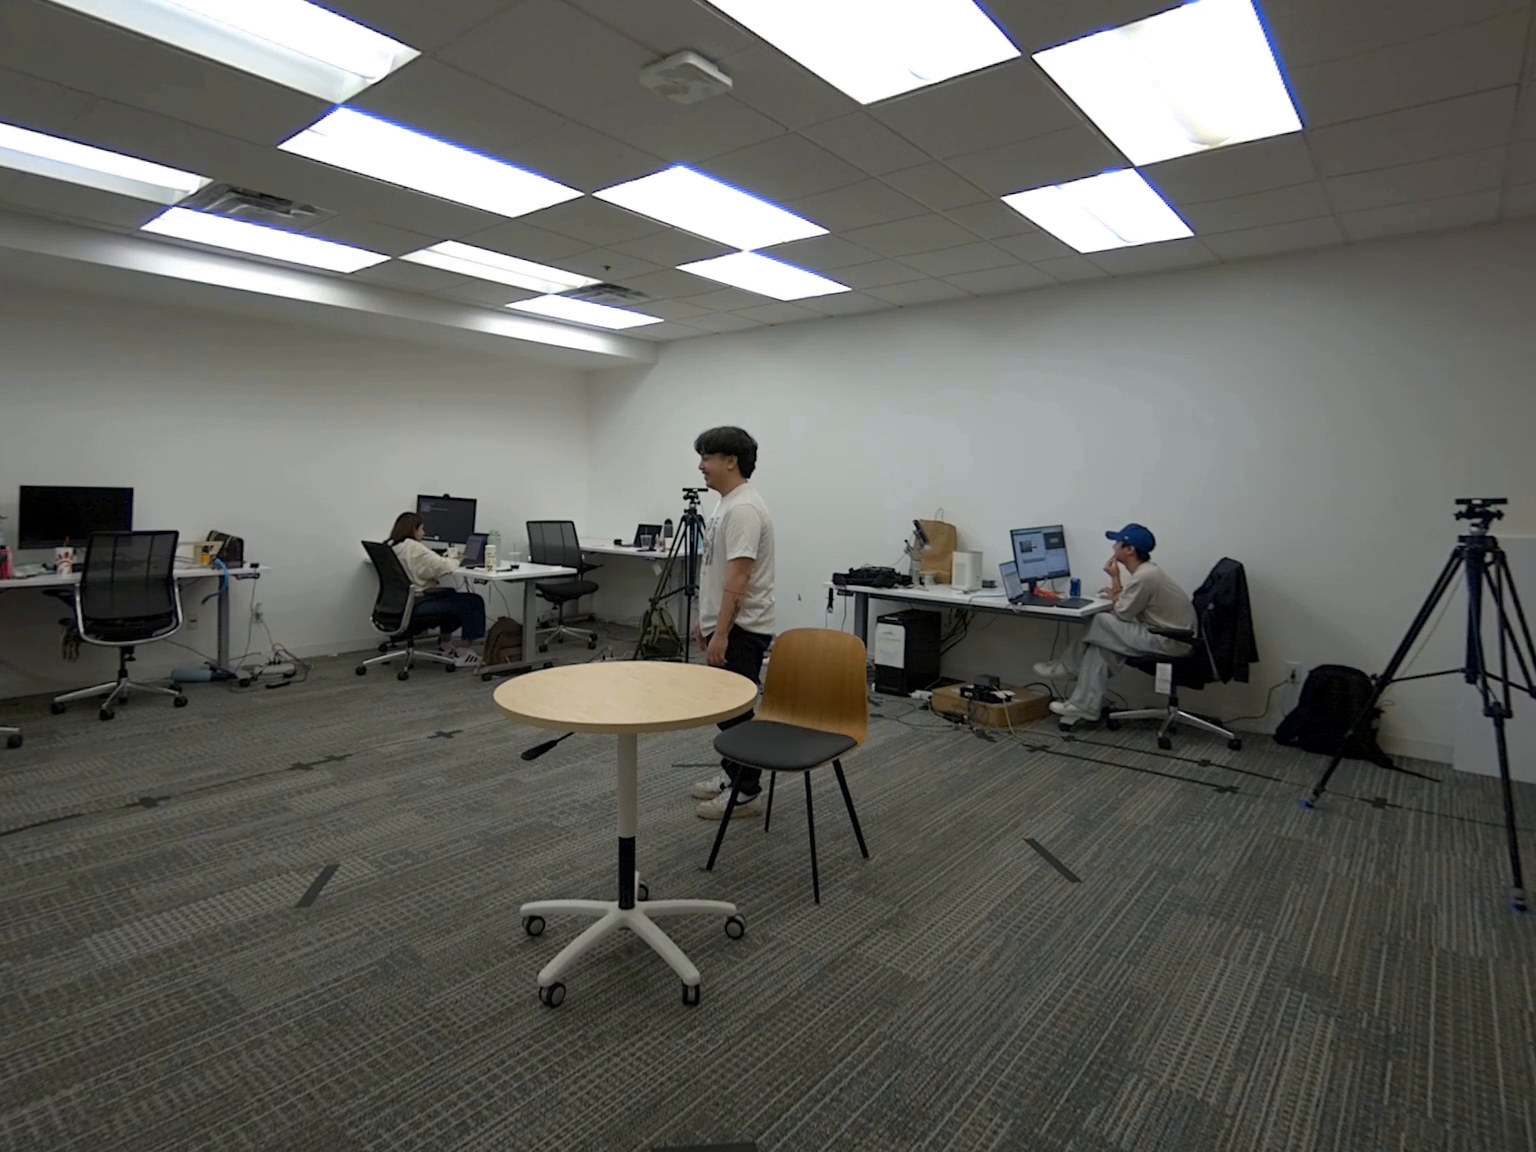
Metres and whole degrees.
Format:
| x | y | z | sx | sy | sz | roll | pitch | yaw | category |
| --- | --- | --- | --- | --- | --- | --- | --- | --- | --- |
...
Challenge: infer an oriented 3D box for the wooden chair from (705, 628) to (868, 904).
| x | y | z | sx | sy | sz | roll | pitch | yaw | category |
| --- | --- | --- | --- | --- | --- | --- | --- | --- | --- |
| 0.078 | 0.644 | 3.141 | 0.493 | 0.878 | 0.507 | 4 | 0 | 31 | wooden chair |
